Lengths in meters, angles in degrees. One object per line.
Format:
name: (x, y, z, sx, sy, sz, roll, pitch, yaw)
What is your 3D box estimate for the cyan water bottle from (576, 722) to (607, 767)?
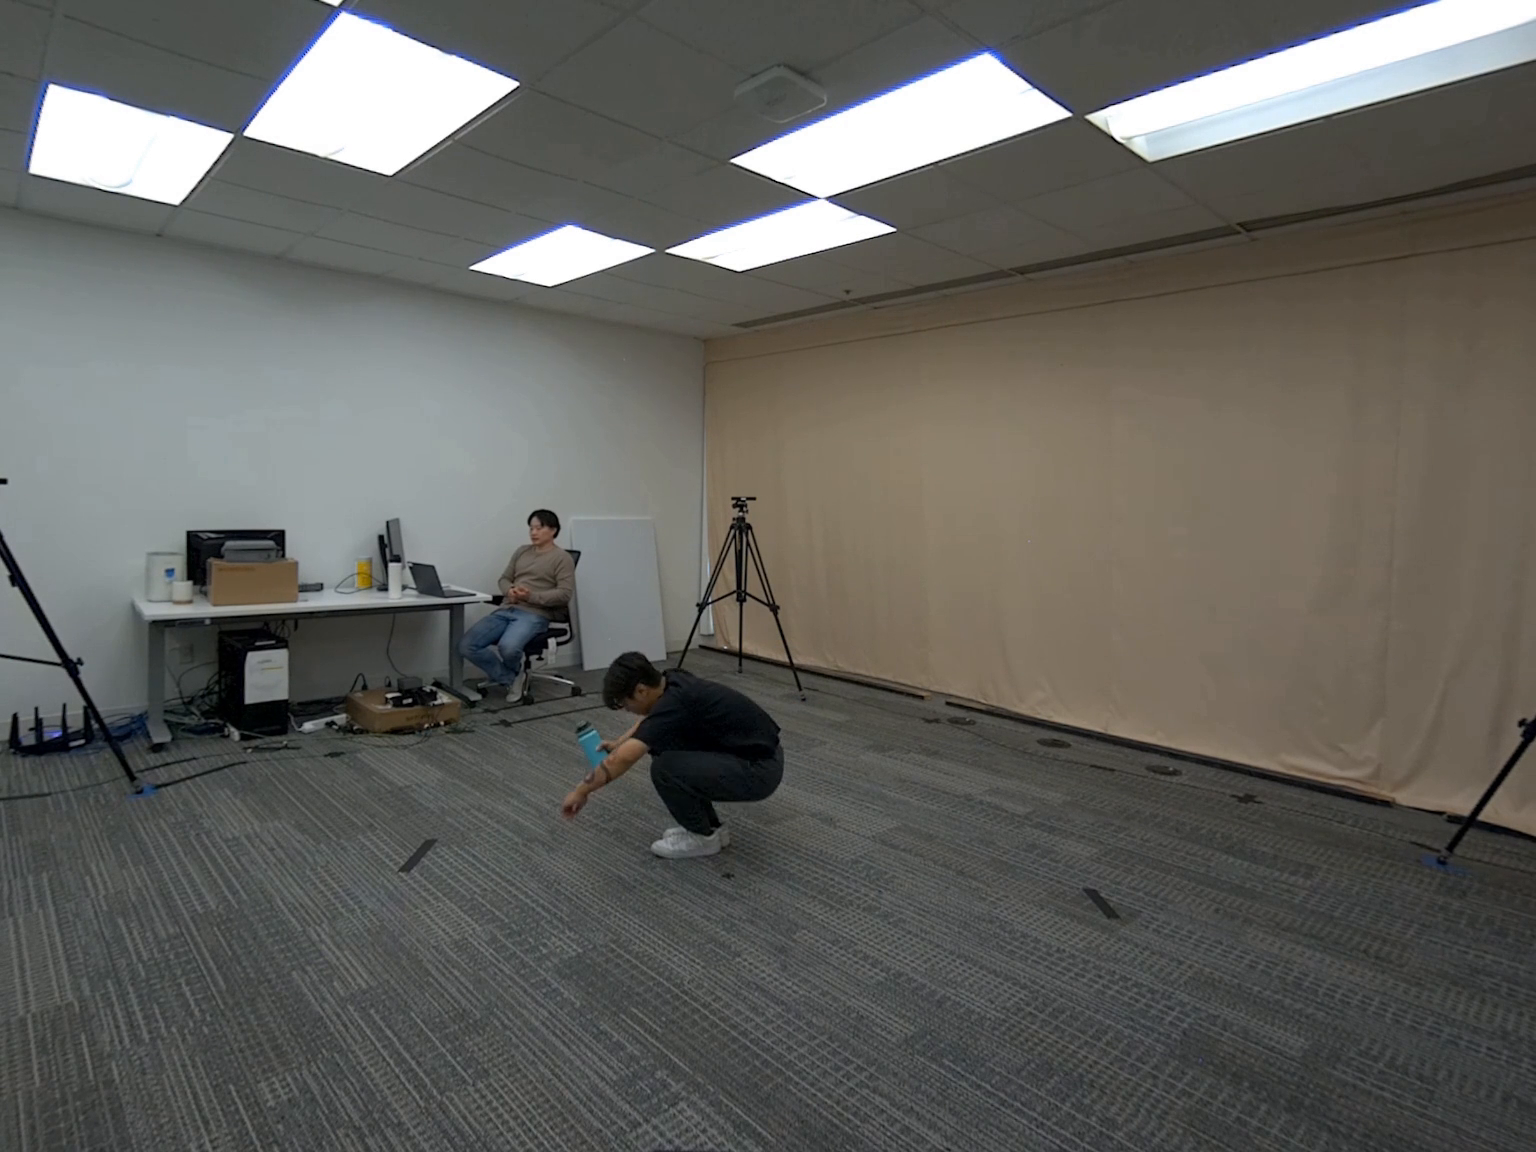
cyan water bottle: (-0.741, 0.735, 3.606, 0.092, 0.284, 0.092, -26, -3, -2)
